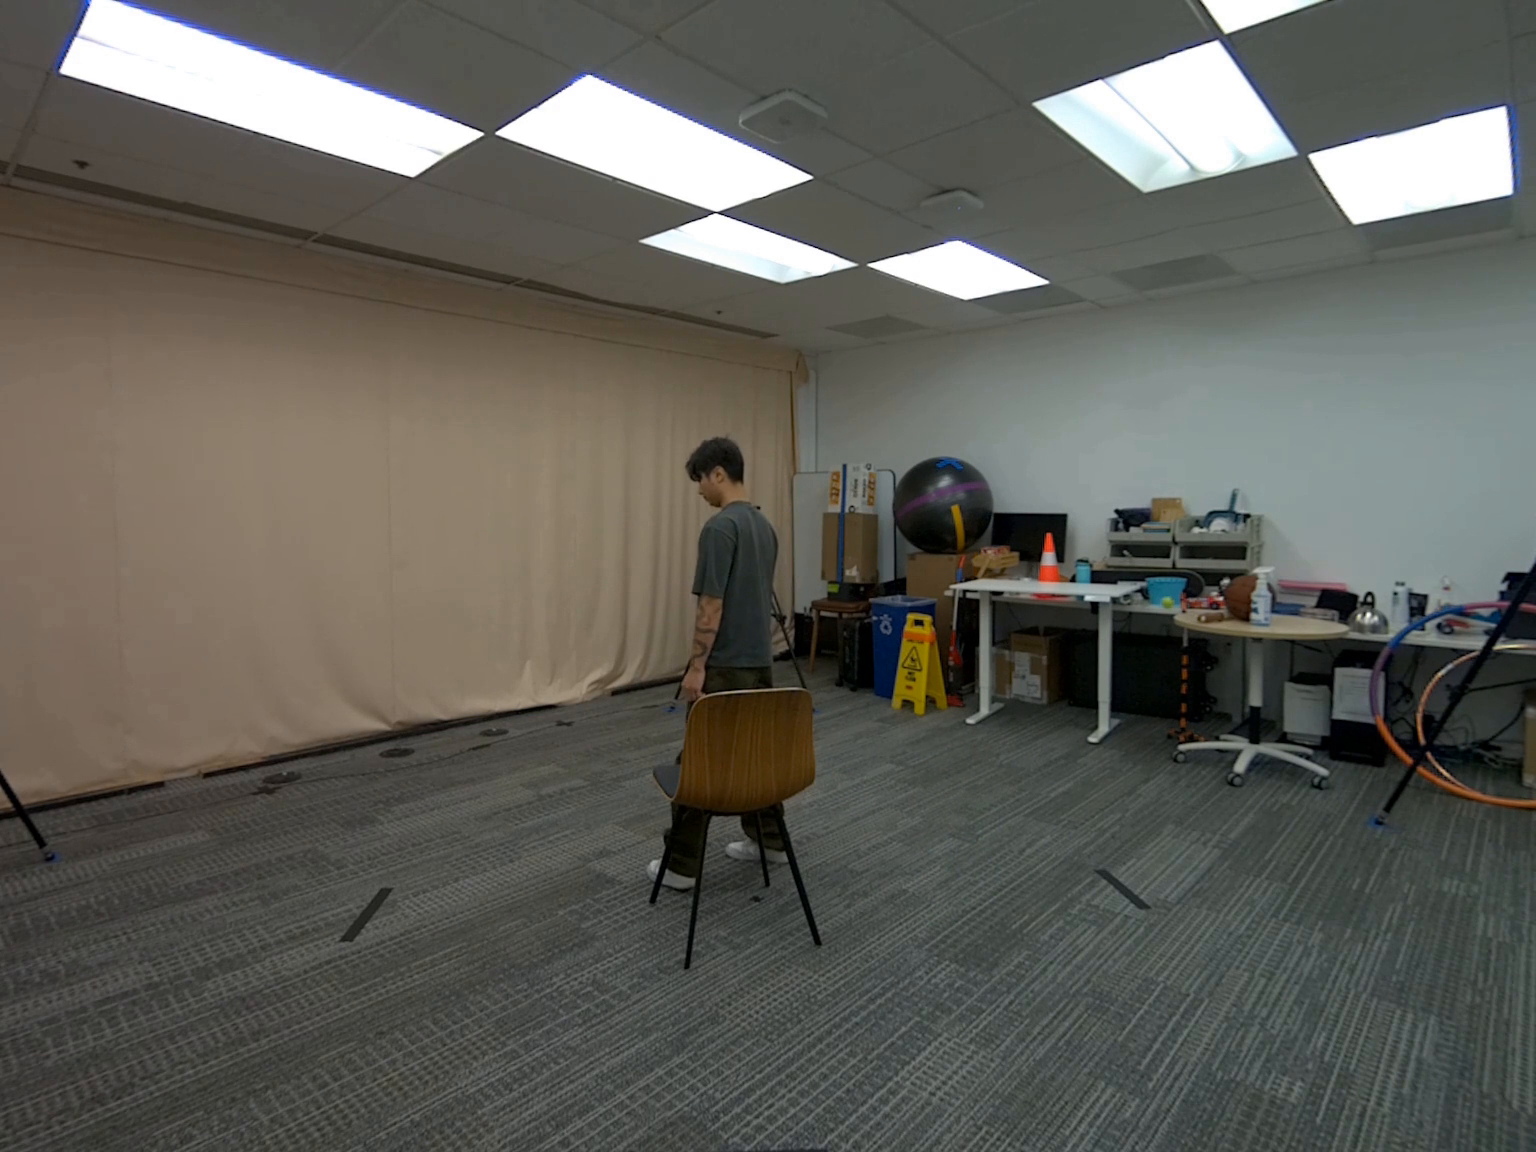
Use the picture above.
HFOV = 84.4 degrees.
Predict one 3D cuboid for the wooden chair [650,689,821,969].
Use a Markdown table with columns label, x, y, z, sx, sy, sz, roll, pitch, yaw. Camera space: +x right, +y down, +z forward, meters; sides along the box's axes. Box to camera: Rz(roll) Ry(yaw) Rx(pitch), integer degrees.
| label | x | y | z | sx | sy | sz | roll | pitch | yaw |
| --- | --- | --- | --- | --- | --- | --- | --- | --- | --- |
| wooden chair | -0.122 | 0.729 | 2.787 | 0.469 | 0.874 | 0.536 | -1 | 7 | -20 |
